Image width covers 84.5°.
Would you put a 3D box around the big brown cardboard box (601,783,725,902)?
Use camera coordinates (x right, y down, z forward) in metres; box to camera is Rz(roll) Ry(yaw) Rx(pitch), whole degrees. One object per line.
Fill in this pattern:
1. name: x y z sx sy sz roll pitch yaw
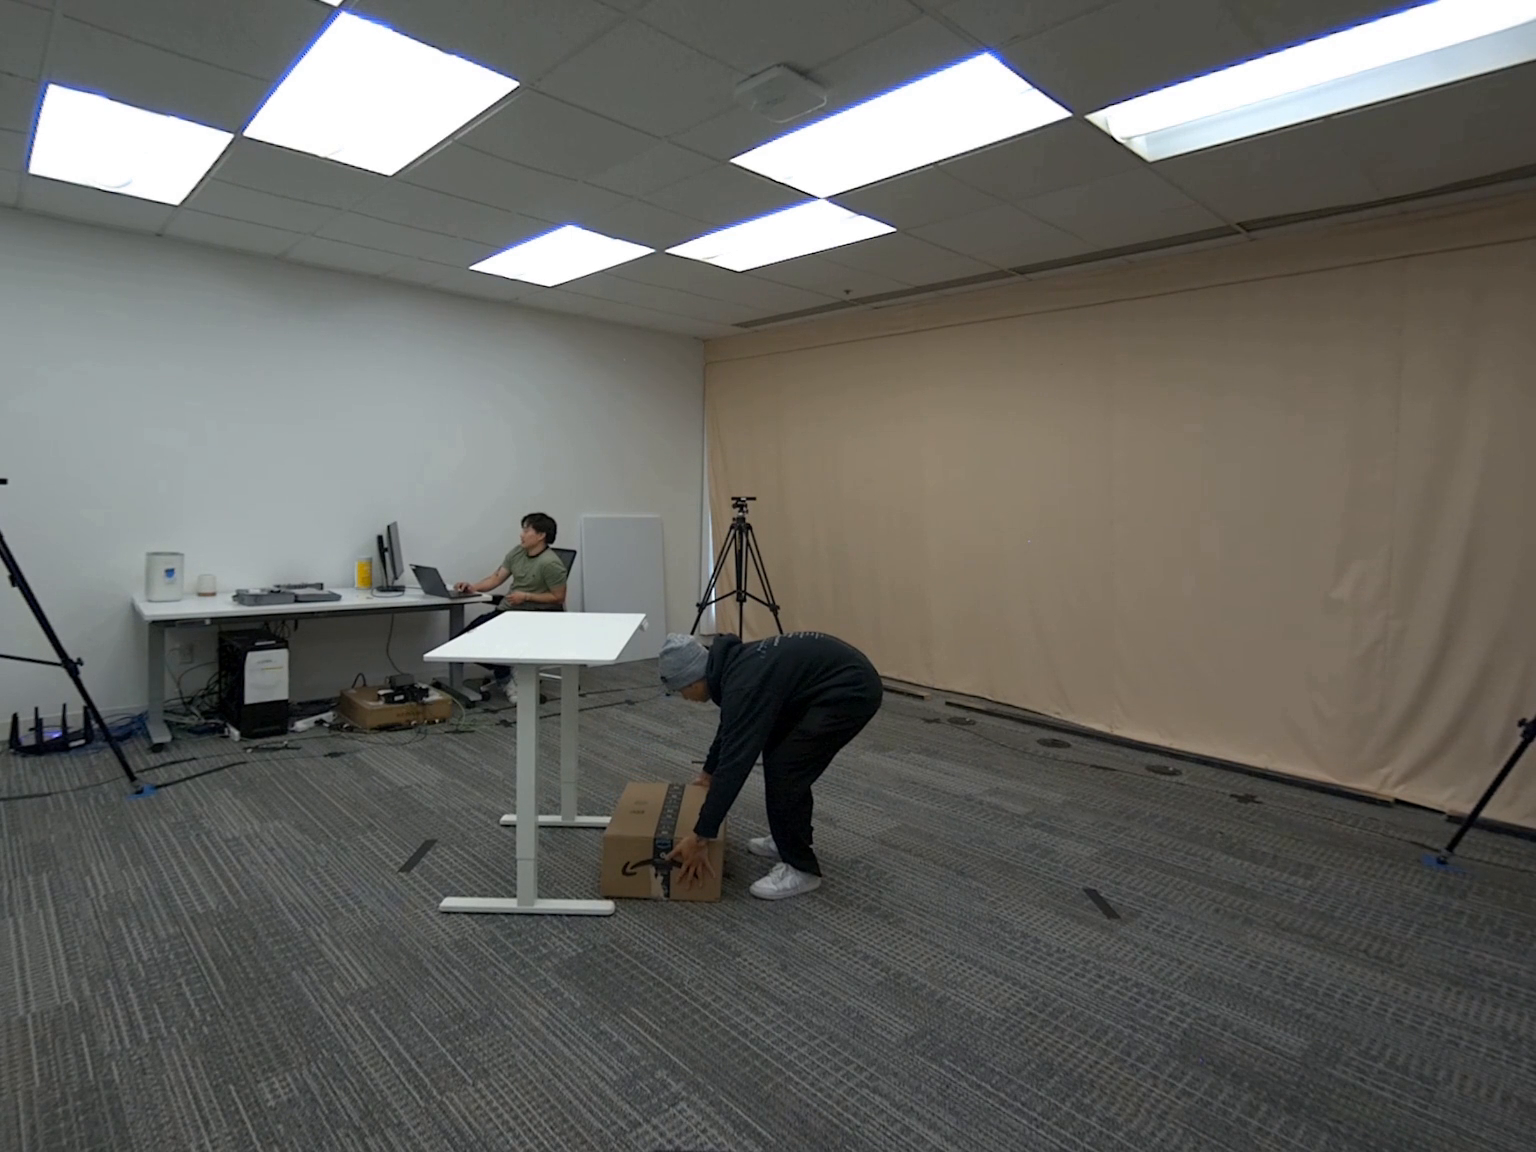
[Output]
1. big brown cardboard box: -0.377 0.980 3.175 0.417 0.232 0.590 3 4 -1
